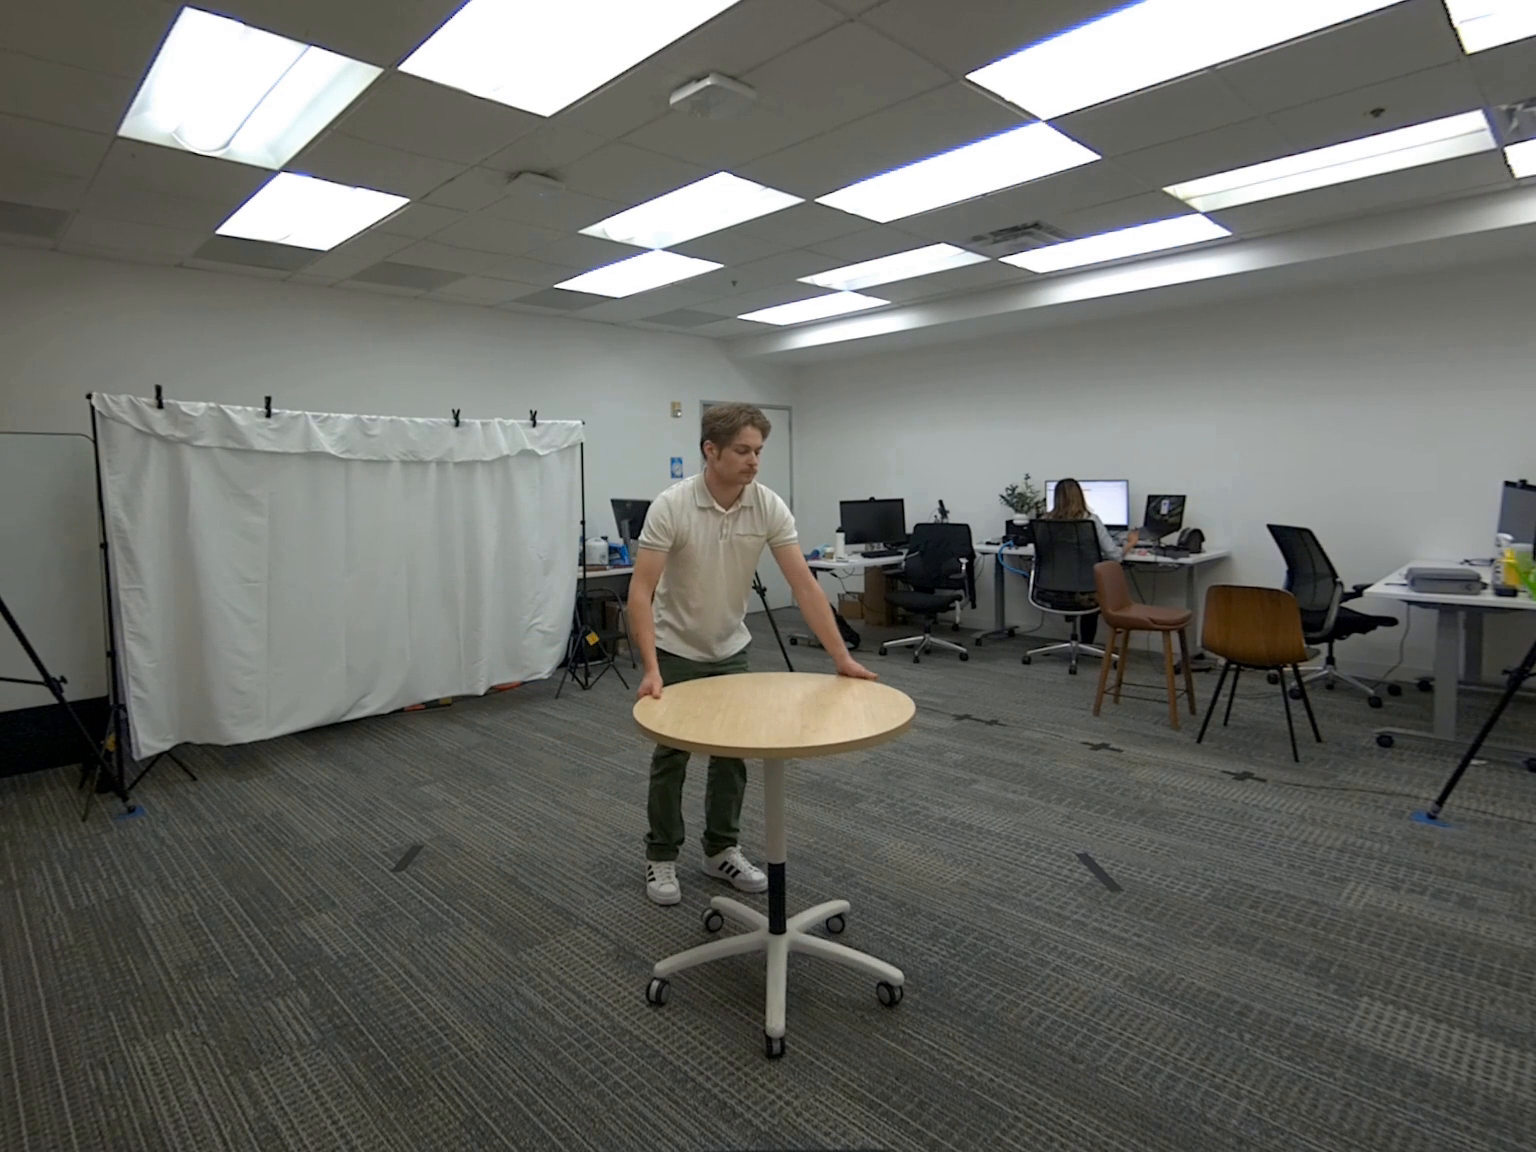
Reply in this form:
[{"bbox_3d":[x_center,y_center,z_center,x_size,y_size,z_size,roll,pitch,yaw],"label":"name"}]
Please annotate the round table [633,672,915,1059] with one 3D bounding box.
[{"bbox_3d":[0.022,0.741,2.368,0.763,0.790,0.768,-1,5,-2],"label":"round table"}]
